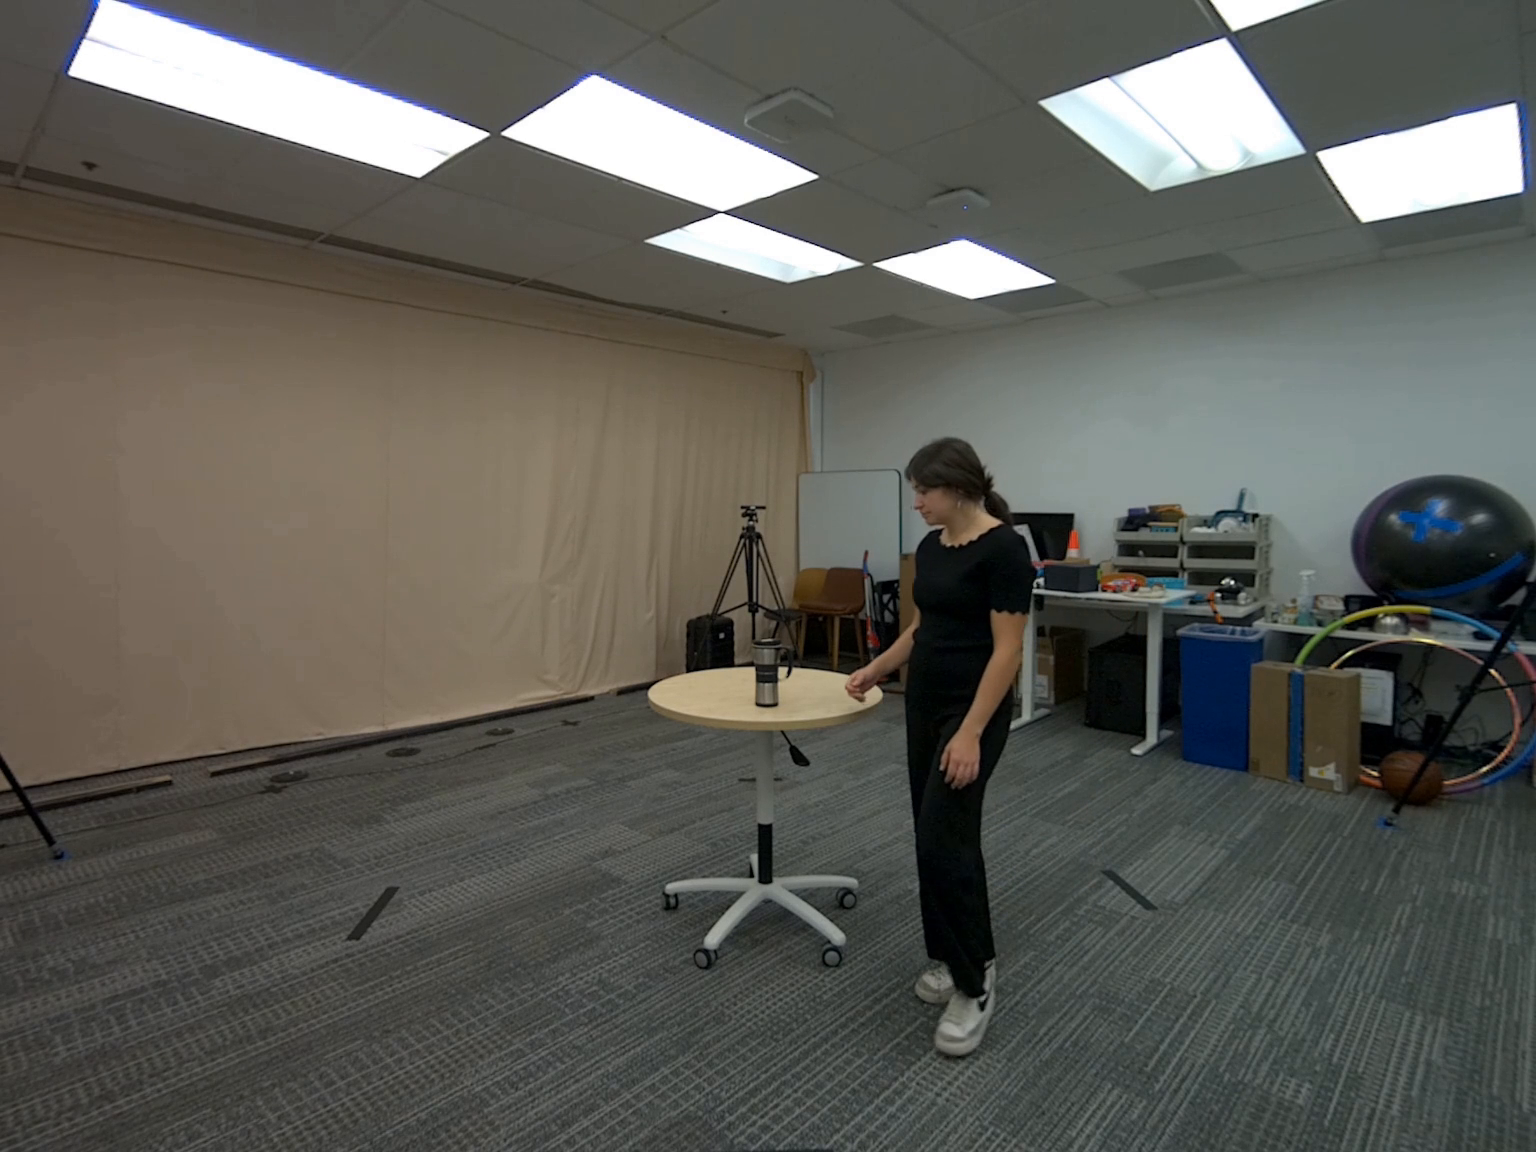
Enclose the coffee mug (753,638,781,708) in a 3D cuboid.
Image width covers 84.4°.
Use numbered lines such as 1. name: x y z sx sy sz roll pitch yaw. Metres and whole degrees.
1. coffee mug: 0.014 0.298 2.559 0.126 0.203 0.085 -1 -3 44
